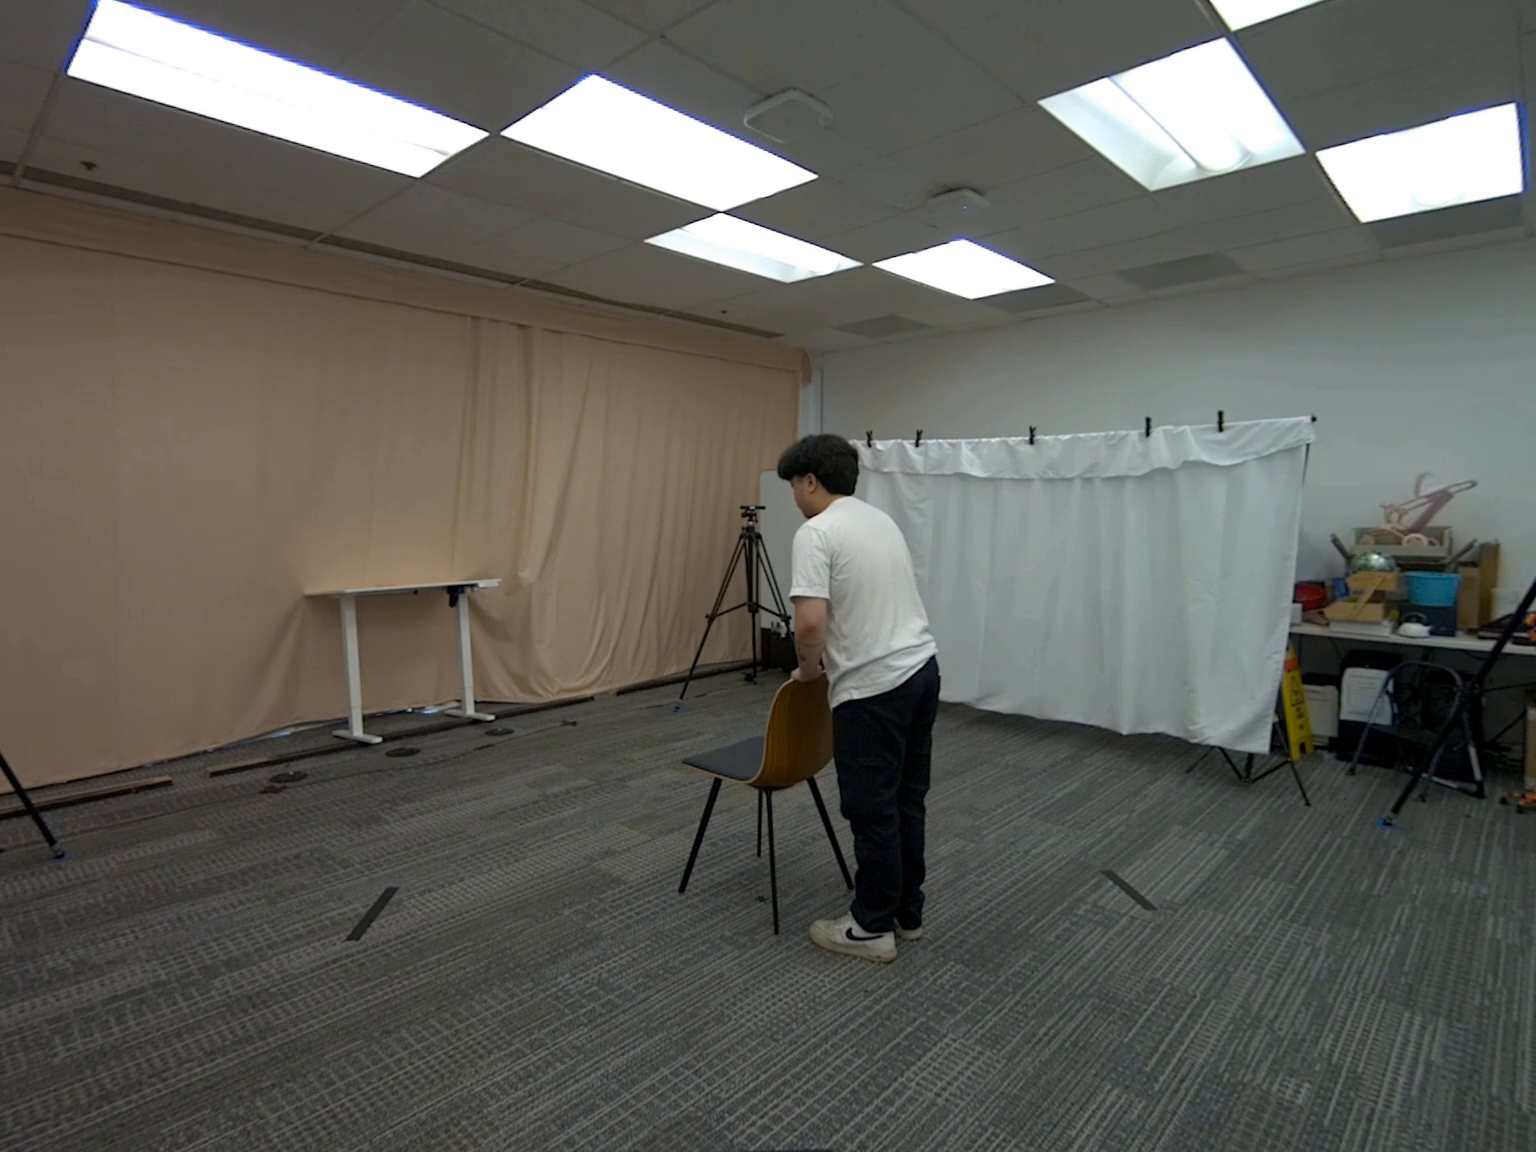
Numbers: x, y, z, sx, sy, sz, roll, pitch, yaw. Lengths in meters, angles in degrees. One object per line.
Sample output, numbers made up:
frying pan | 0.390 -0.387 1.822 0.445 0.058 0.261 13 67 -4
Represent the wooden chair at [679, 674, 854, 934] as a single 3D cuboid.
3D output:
wooden chair | -0.012 0.717 3.024 0.541 0.874 0.463 9 9 40
